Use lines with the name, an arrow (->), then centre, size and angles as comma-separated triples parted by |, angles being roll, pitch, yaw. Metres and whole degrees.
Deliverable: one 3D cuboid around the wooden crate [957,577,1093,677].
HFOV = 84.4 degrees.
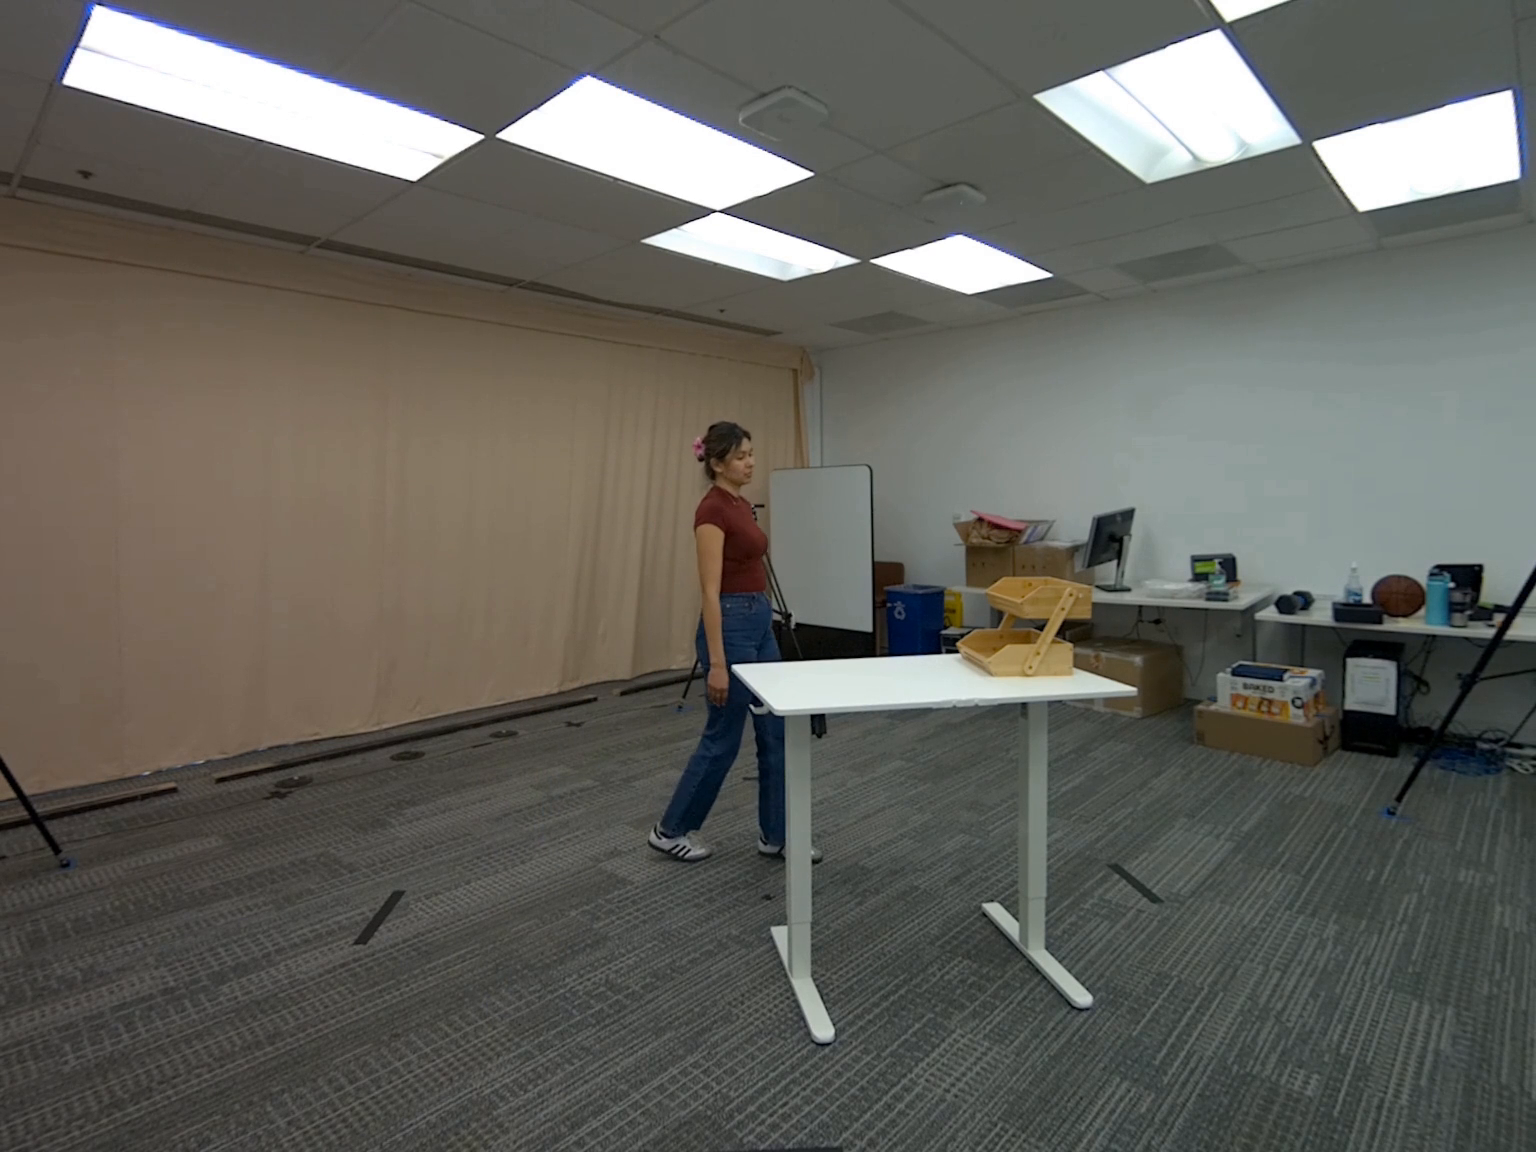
wooden crate -> 0.779, 0.148, 2.580 | 0.301, 0.272, 0.326 | -1, 5, -3
